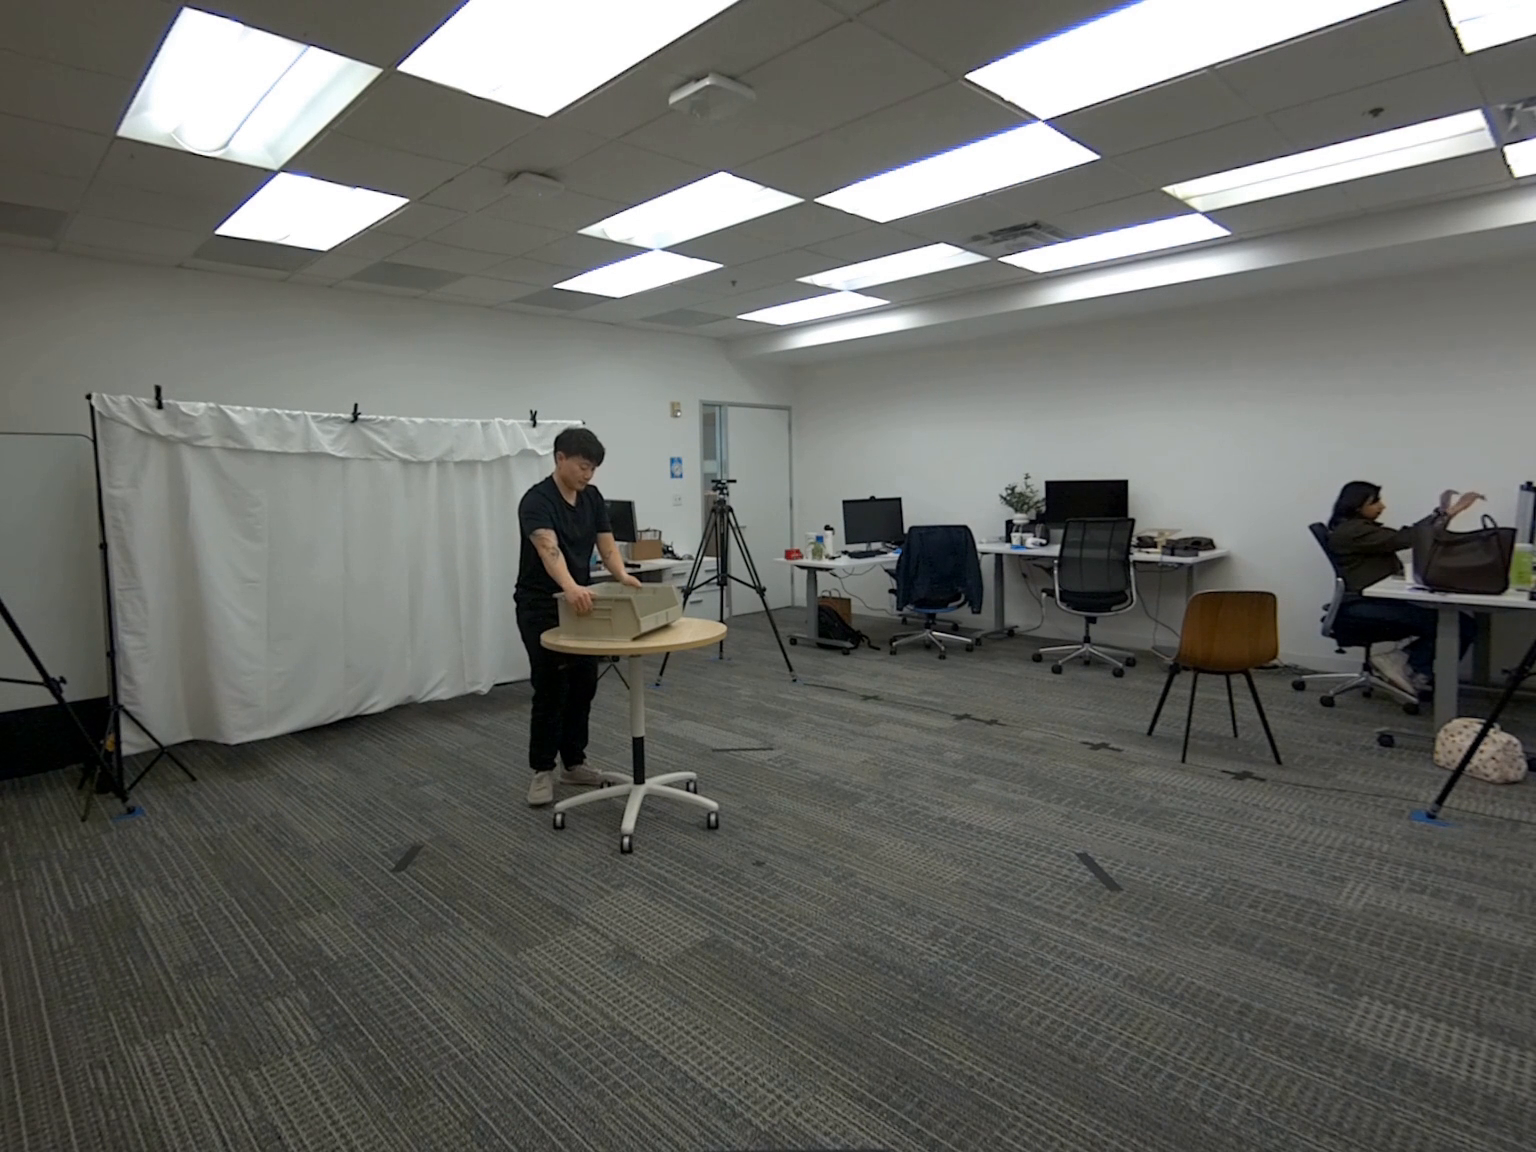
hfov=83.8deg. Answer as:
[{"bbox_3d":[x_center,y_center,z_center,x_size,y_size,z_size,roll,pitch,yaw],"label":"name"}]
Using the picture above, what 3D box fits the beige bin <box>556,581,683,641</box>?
[{"bbox_3d":[-0.601,0.145,3.506,0.384,0.188,0.417,-1,6,18],"label":"beige bin"}]
